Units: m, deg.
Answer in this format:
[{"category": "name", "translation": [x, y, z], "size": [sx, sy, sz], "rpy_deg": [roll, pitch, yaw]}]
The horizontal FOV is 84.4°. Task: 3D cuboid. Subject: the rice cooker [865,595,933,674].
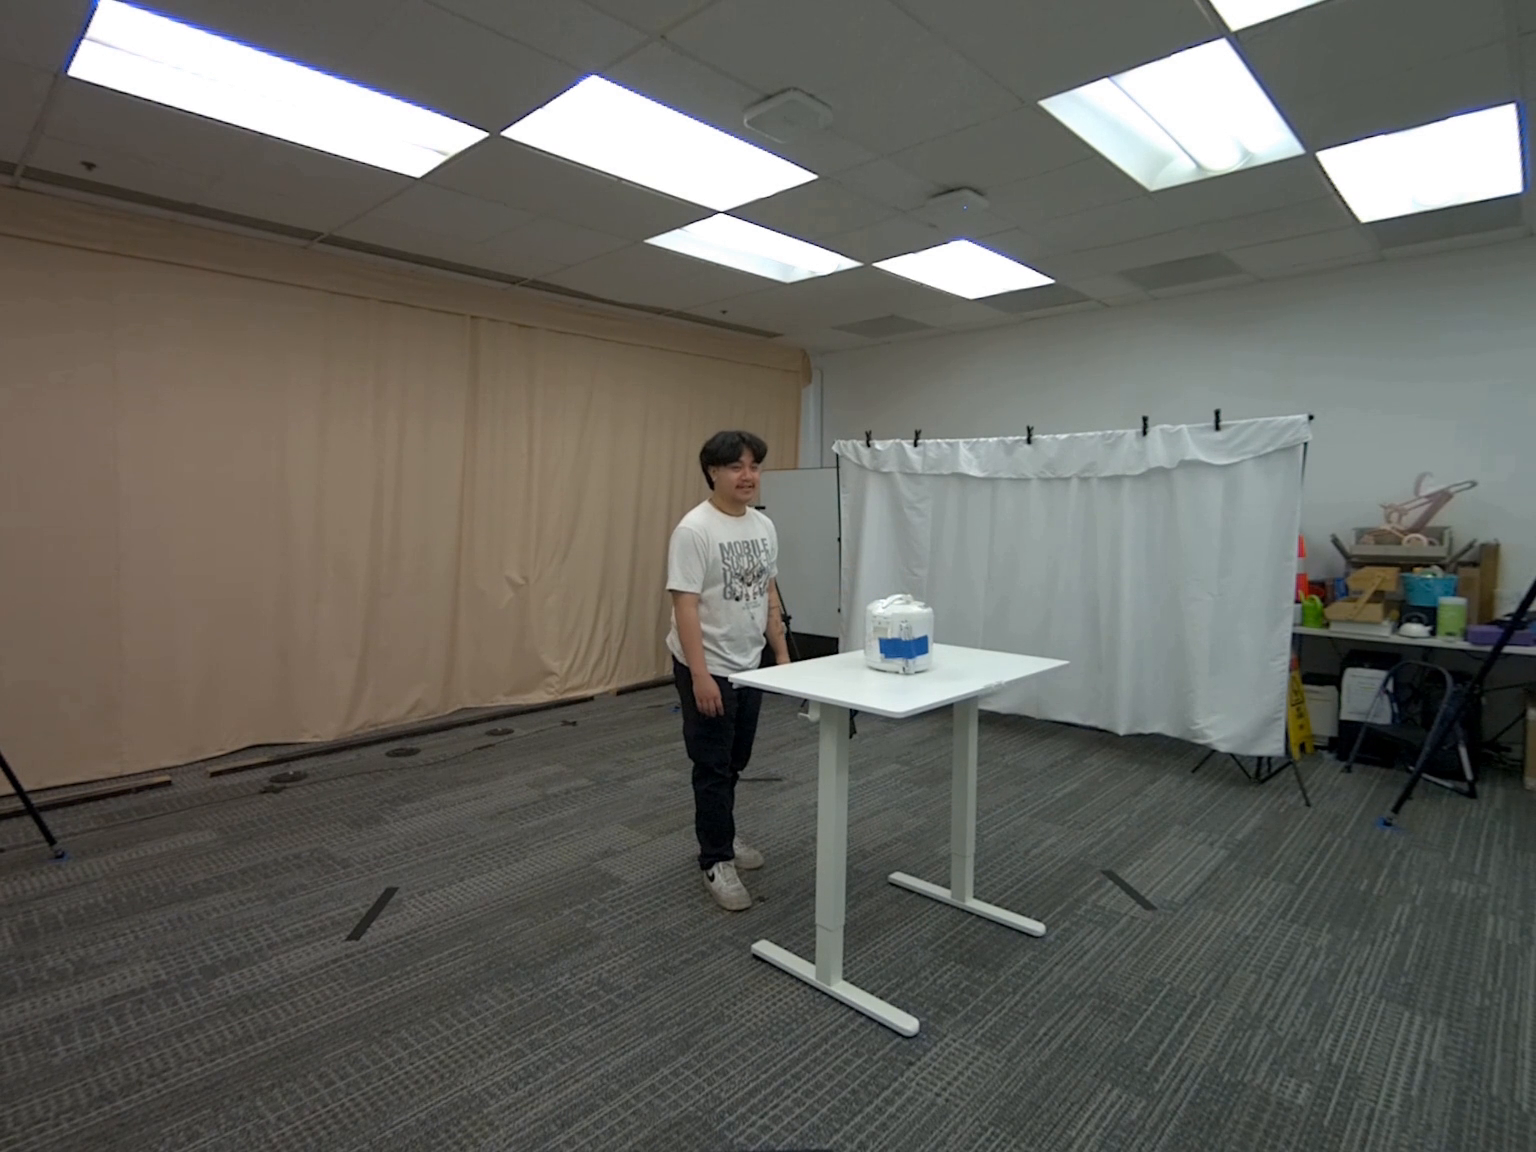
[{"category": "rice cooker", "translation": [0.410, 0.175, 2.616], "size": [0.225, 0.232, 0.214], "rpy_deg": [5, 5, 42]}]
